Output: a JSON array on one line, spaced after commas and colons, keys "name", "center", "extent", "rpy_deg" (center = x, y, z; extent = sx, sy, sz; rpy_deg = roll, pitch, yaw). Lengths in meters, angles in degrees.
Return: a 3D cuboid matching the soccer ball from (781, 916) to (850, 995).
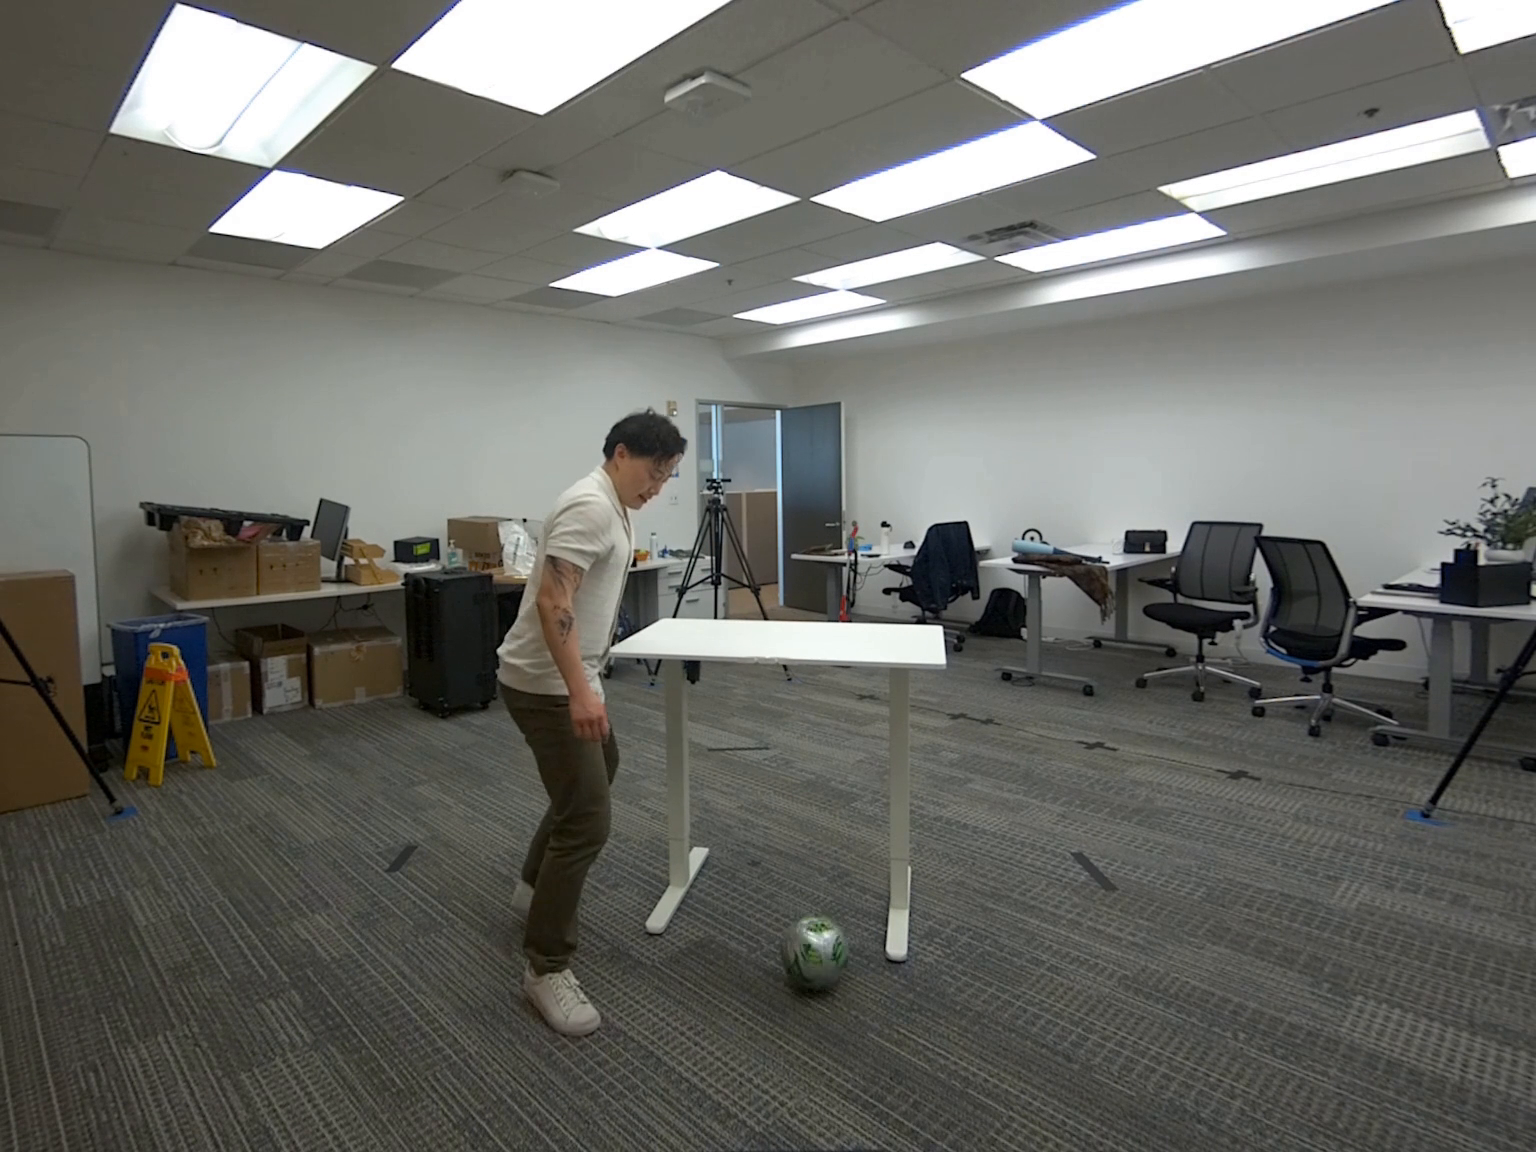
[{"name": "soccer ball", "center": [0.132, 1.034, 2.349], "extent": [0.187, 0.187, 0.188], "rpy_deg": [-1, 5, -2]}]
